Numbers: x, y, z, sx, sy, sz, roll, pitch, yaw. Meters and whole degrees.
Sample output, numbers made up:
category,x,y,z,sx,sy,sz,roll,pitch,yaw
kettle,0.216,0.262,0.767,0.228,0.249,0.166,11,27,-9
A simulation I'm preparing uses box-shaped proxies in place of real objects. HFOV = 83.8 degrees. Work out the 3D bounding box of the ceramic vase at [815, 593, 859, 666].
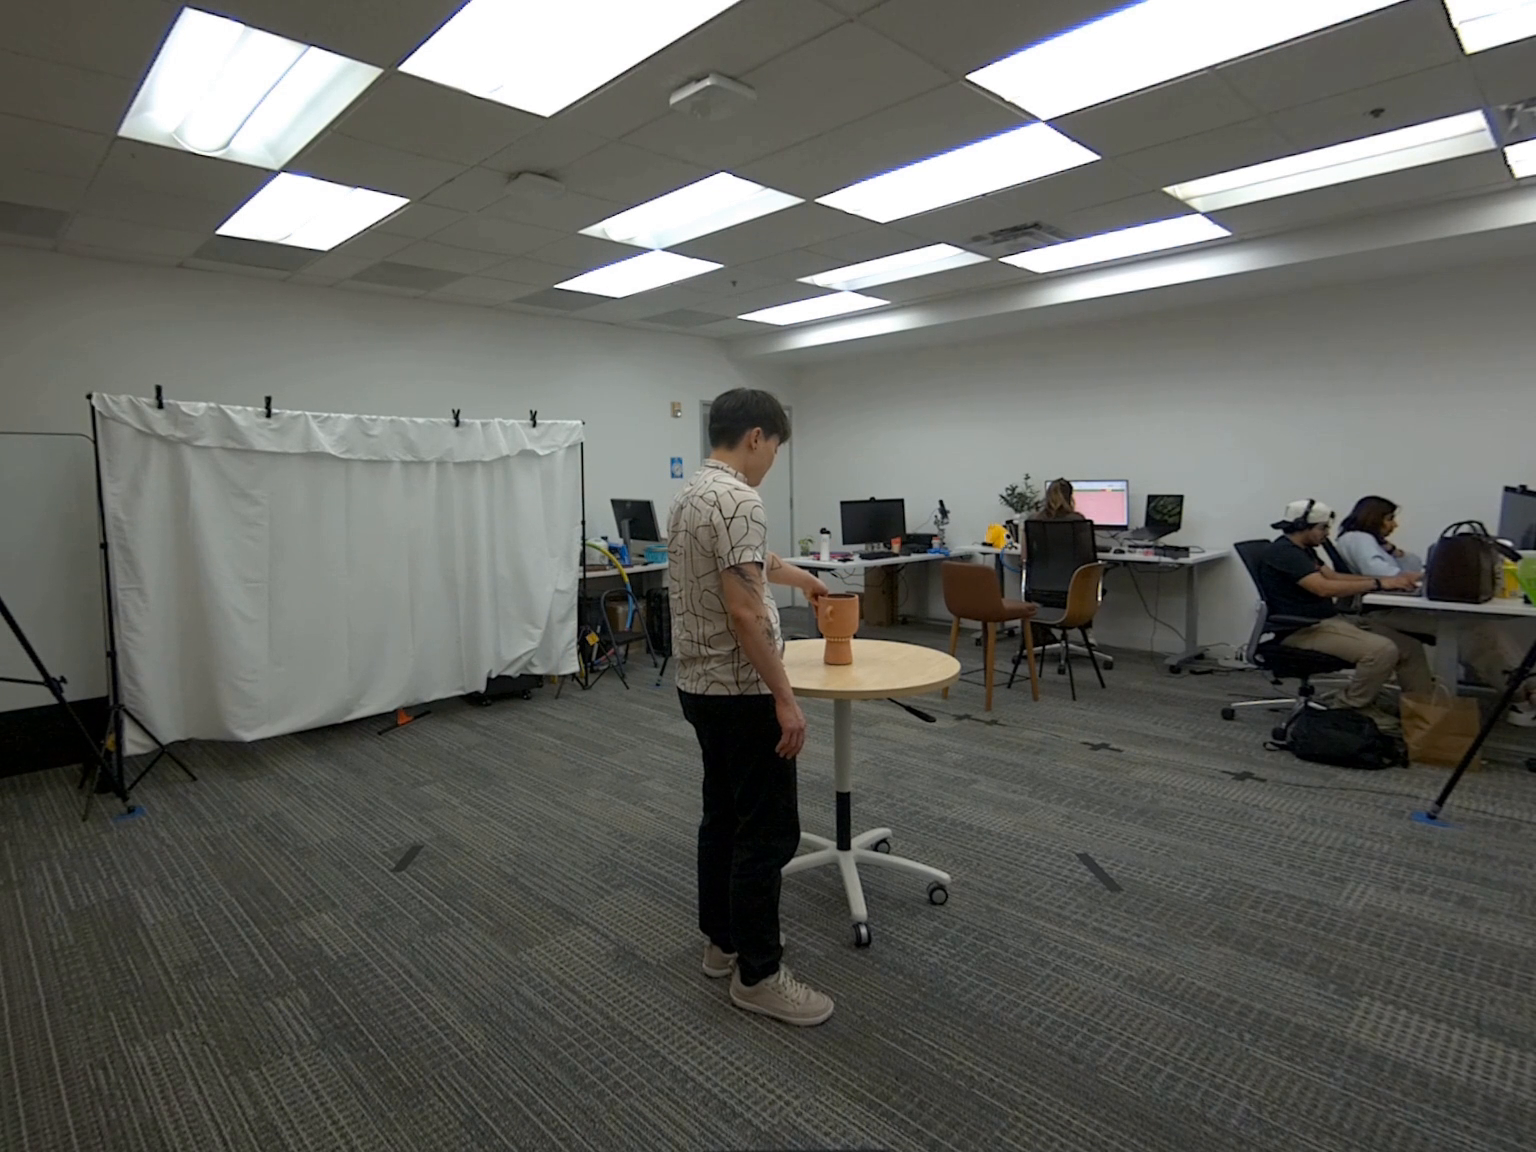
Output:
category,x,y,z,sx,sy,sz,roll,pitch,yaw
ceramic vase,0.238,0.177,2.830,0.156,0.218,0.138,-4,7,-23
